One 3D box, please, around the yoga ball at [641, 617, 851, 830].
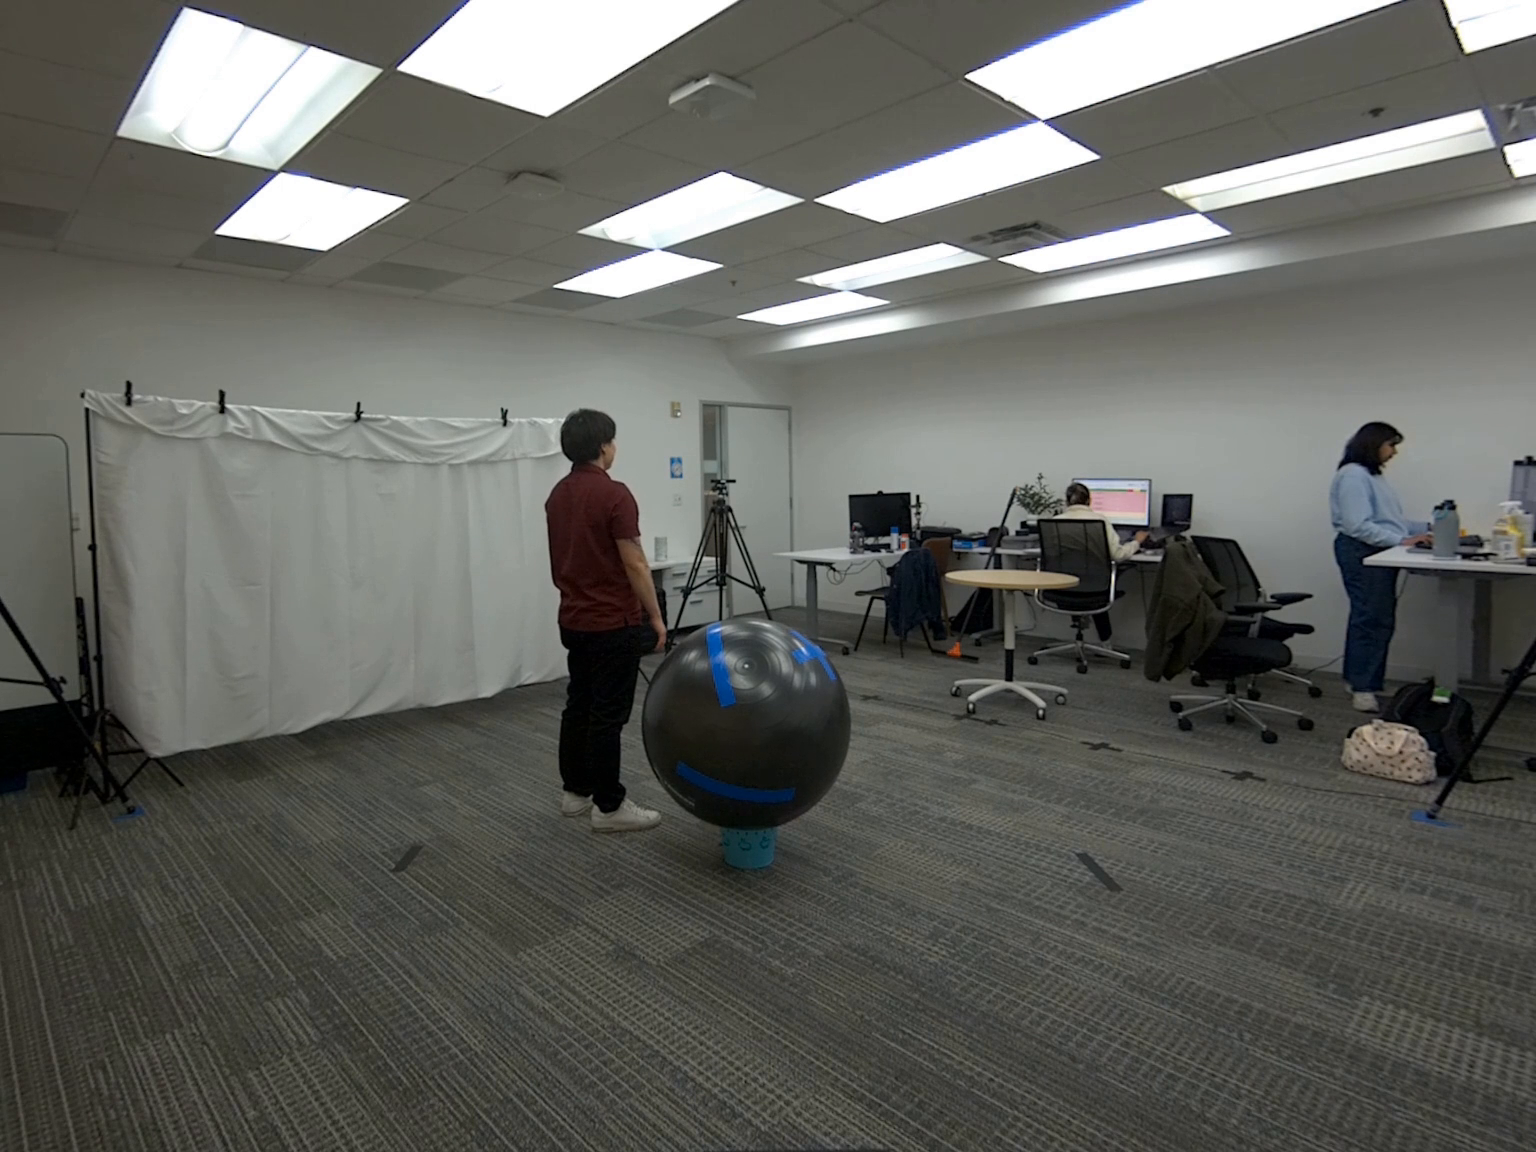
[{"bbox_3d":[-0.082,0.535,3.122,0.757,0.755,0.762,-1,5,-2],"label":"yoga ball"}]
